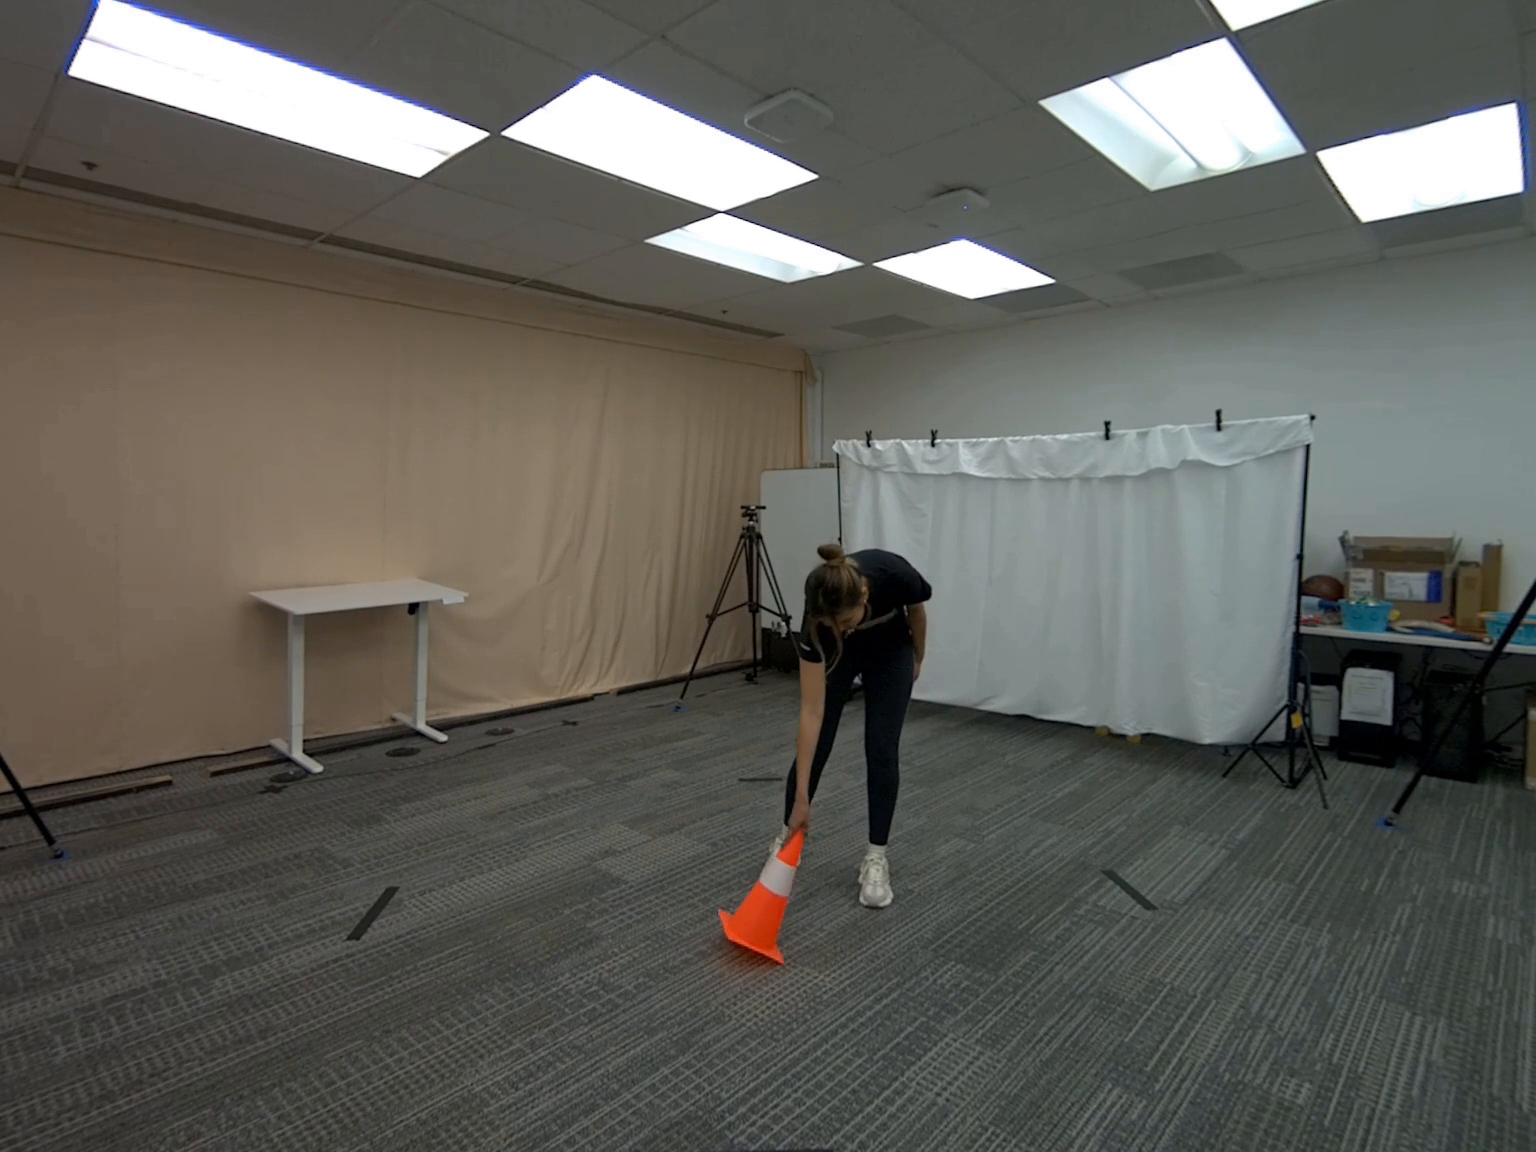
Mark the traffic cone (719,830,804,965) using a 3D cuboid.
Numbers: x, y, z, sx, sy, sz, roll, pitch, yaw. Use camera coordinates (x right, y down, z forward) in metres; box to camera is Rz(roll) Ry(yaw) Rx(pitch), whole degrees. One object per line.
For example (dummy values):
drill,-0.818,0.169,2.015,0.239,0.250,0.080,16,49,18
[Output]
traffic cone,0.033,0.966,2.636,0.202,0.384,0.206,29,-3,-12
